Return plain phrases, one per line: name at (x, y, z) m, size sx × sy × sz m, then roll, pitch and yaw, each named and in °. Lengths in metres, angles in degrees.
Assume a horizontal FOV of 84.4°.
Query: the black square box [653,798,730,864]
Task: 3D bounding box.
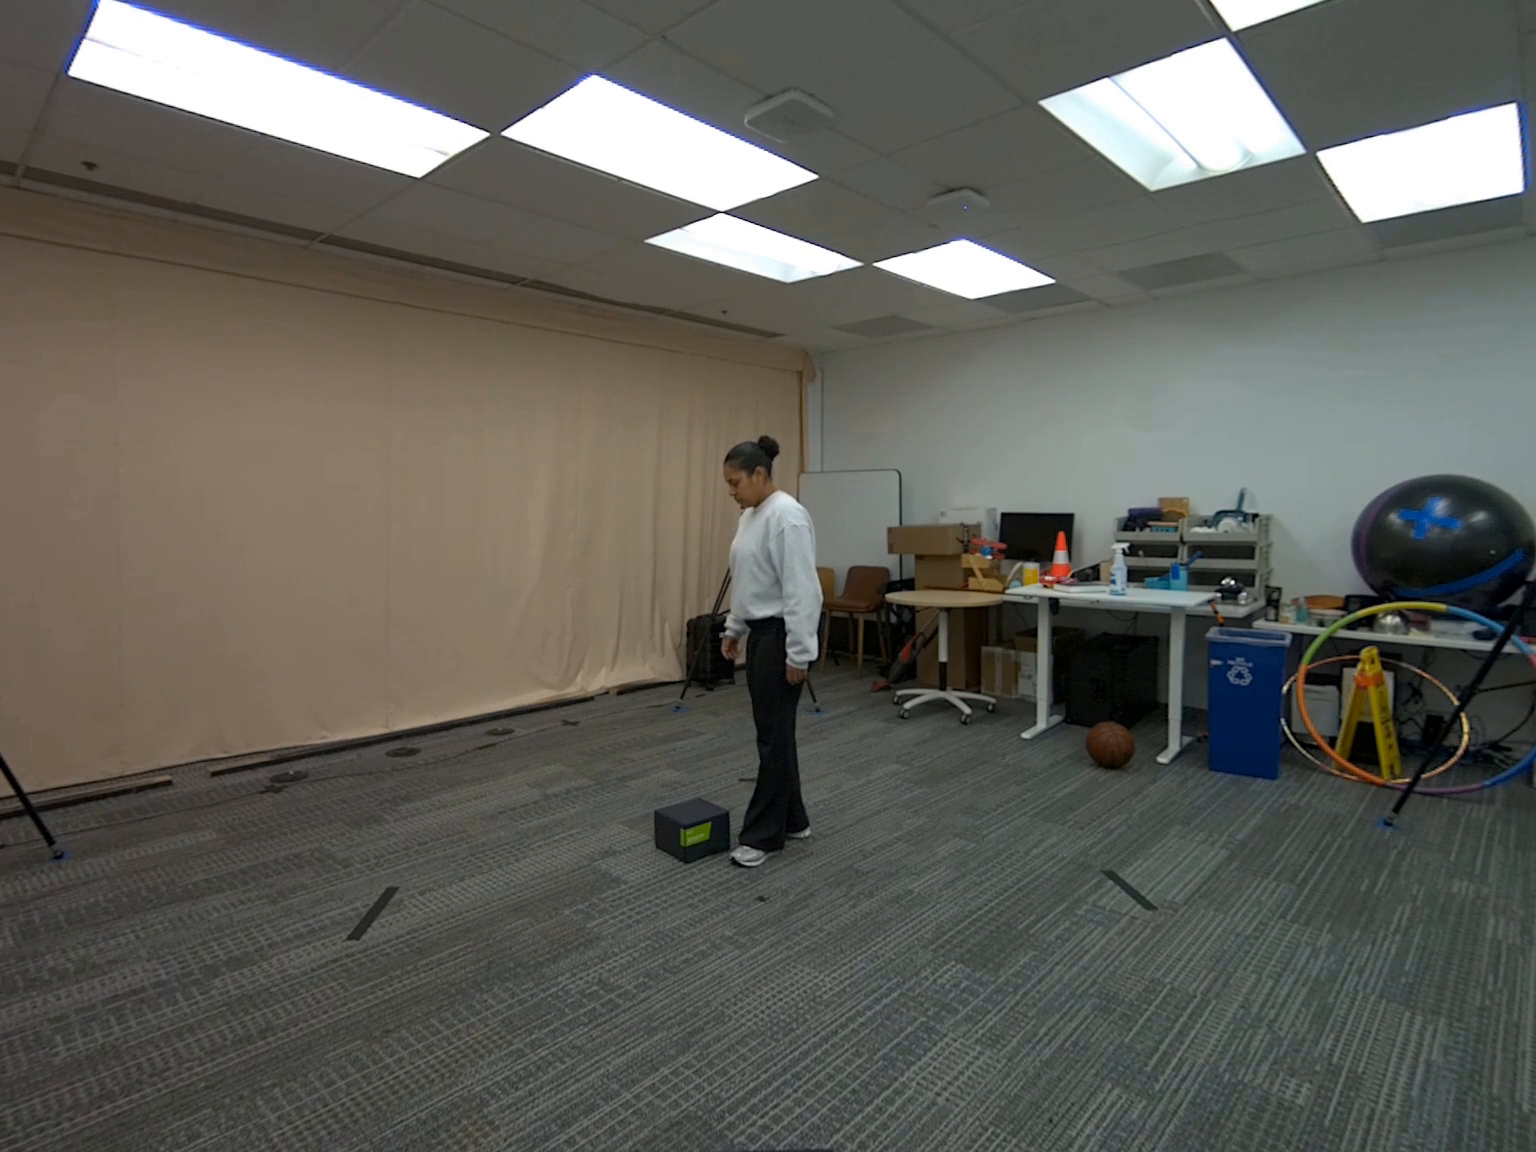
black square box at (-0.307, 1.026, 3.424) m, size 0.221 × 0.155 × 0.224 m, roll -4°, pitch 6°, yaw -40°
